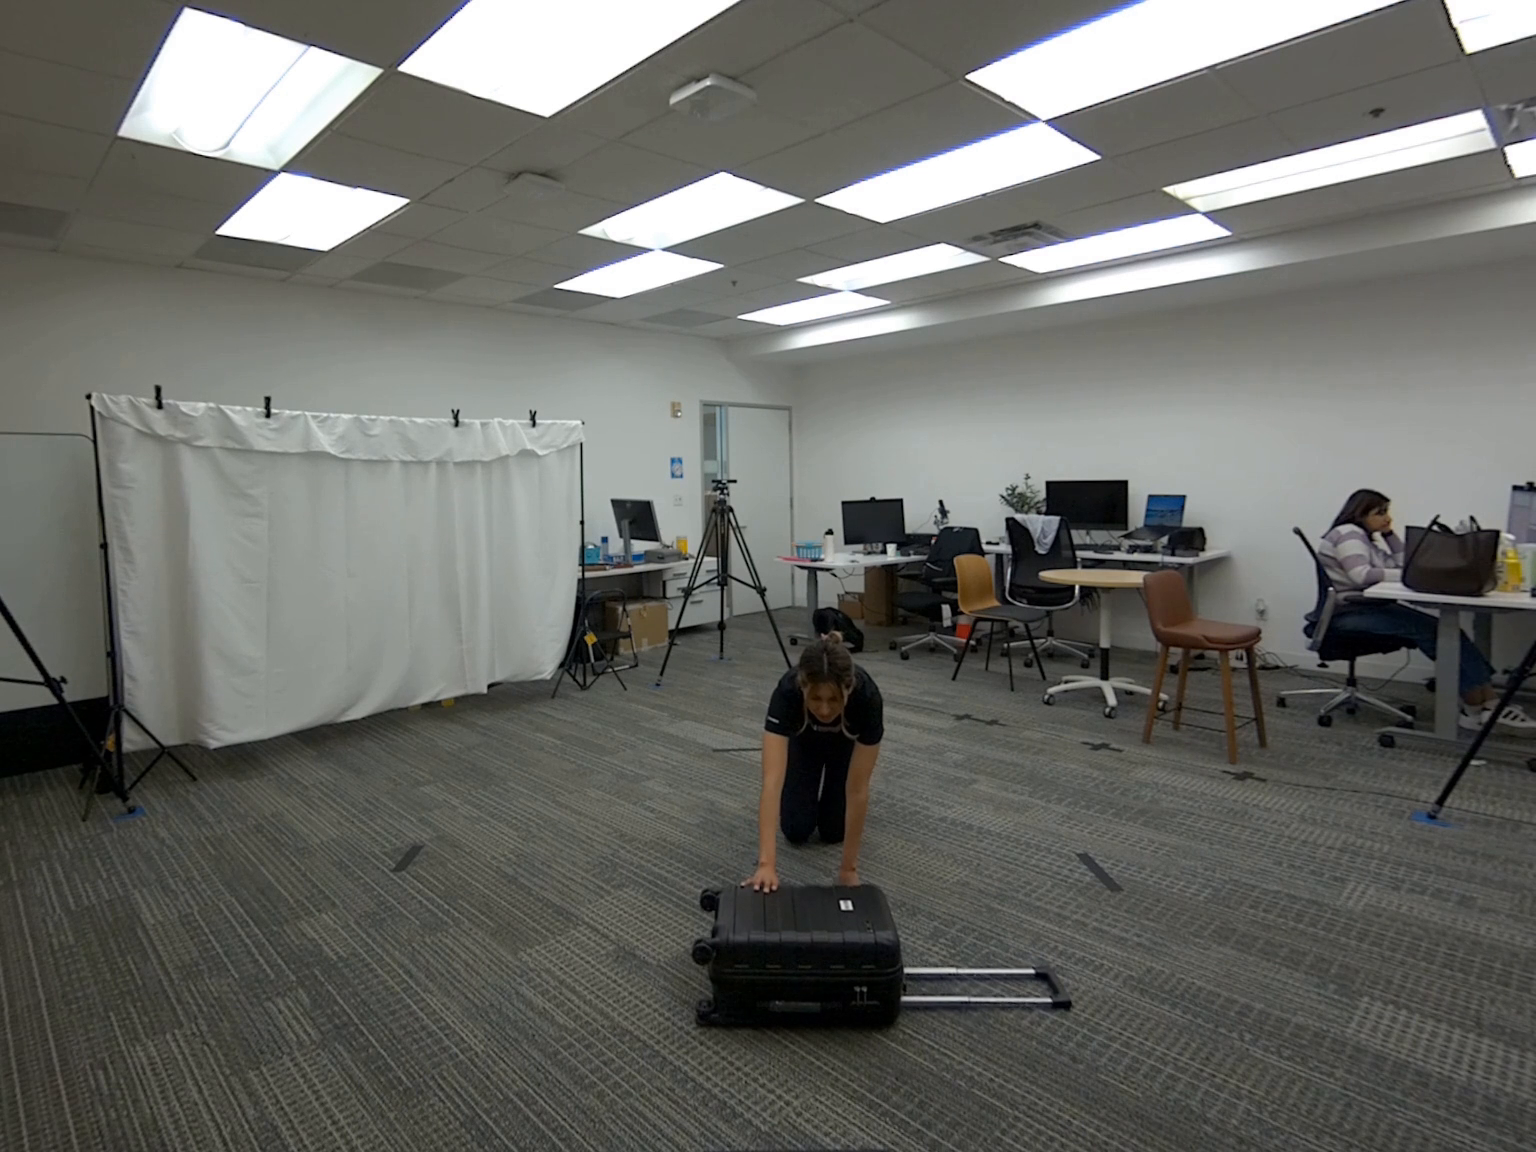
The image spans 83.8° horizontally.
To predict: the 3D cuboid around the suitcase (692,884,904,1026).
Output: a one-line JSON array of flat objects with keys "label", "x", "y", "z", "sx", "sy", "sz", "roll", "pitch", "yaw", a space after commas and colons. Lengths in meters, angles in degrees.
[{"label": "suitcase", "x": 0.295, "y": 1.011, "z": 2.308, "sx": 0.980, "sy": 0.256, "sz": 0.384, "roll": -3, "pitch": 4, "yaw": 2}]
